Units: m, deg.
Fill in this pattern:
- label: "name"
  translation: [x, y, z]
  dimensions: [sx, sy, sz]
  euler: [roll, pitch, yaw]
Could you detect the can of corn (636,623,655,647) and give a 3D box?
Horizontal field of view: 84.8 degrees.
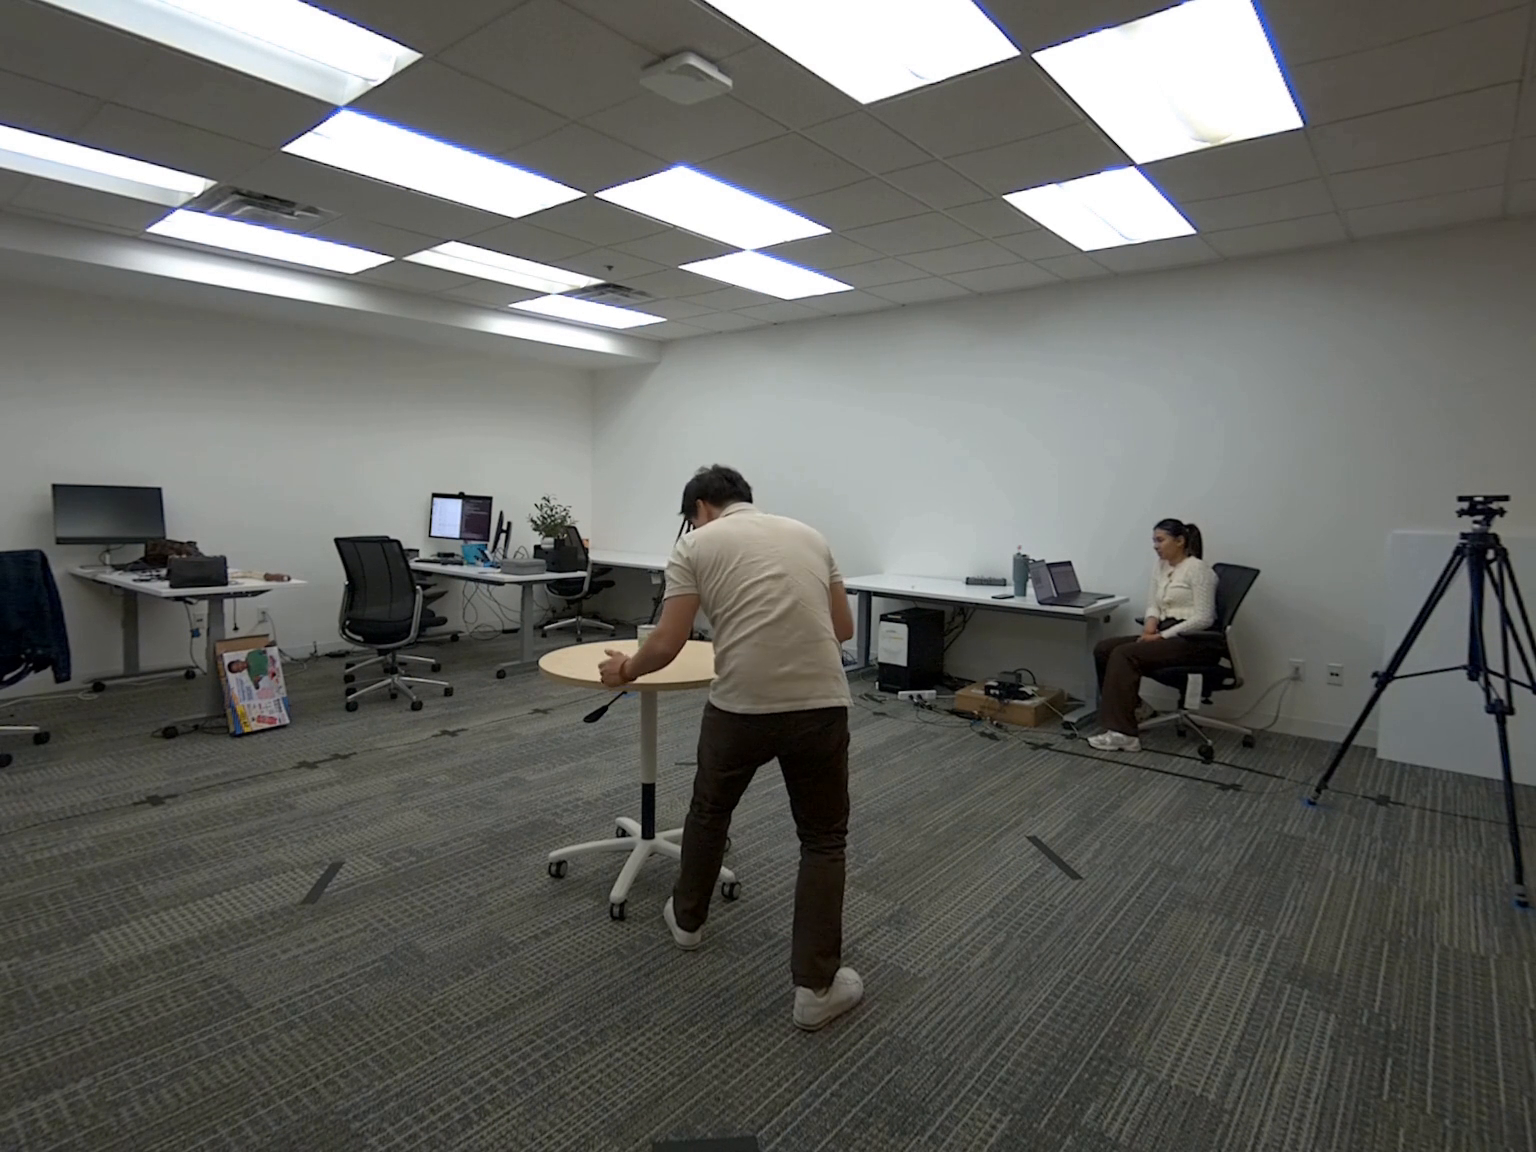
- label: "can of corn"
  translation: [-0.437, 0.231, 3.012]
  dimensions: [0.074, 0.111, 0.074]
  euler: [-1, 4, -2]
